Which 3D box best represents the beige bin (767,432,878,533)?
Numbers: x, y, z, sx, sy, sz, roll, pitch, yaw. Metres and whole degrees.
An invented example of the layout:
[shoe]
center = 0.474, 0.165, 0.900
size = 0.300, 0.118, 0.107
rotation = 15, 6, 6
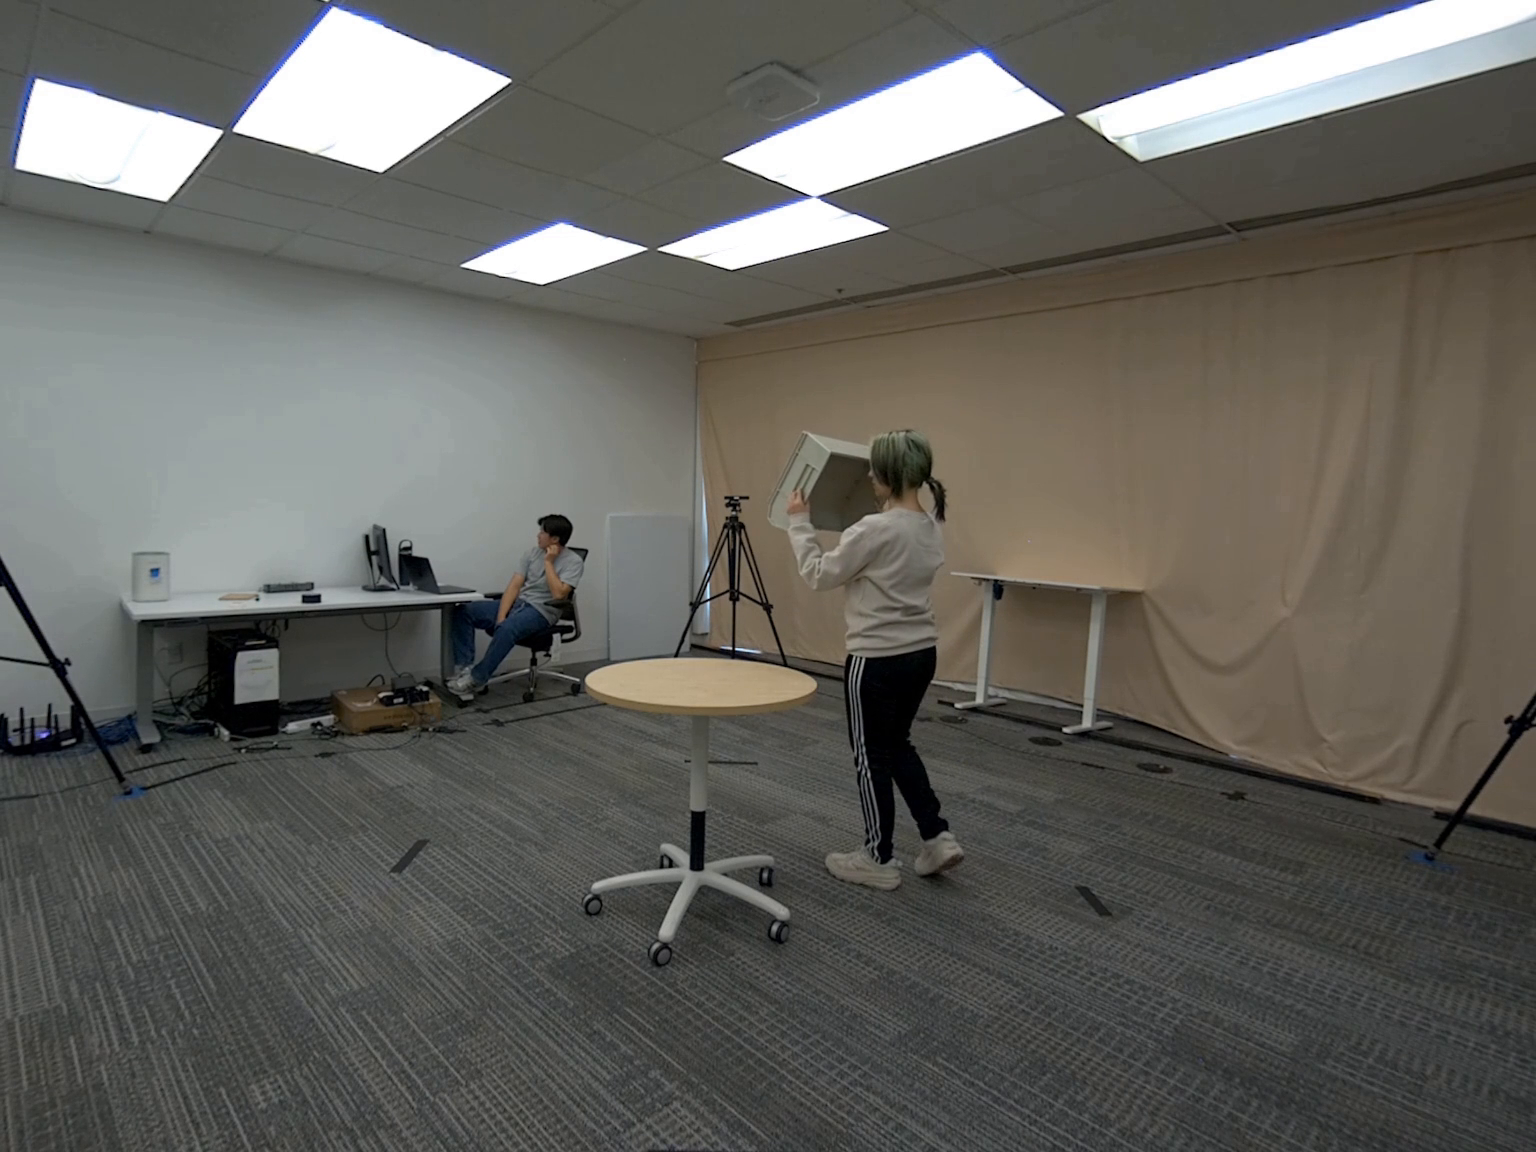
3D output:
[beige bin]
center = 0.247, -0.329, 3.244
size = 0.412, 0.375, 0.195
rotation = 4, 31, -41
